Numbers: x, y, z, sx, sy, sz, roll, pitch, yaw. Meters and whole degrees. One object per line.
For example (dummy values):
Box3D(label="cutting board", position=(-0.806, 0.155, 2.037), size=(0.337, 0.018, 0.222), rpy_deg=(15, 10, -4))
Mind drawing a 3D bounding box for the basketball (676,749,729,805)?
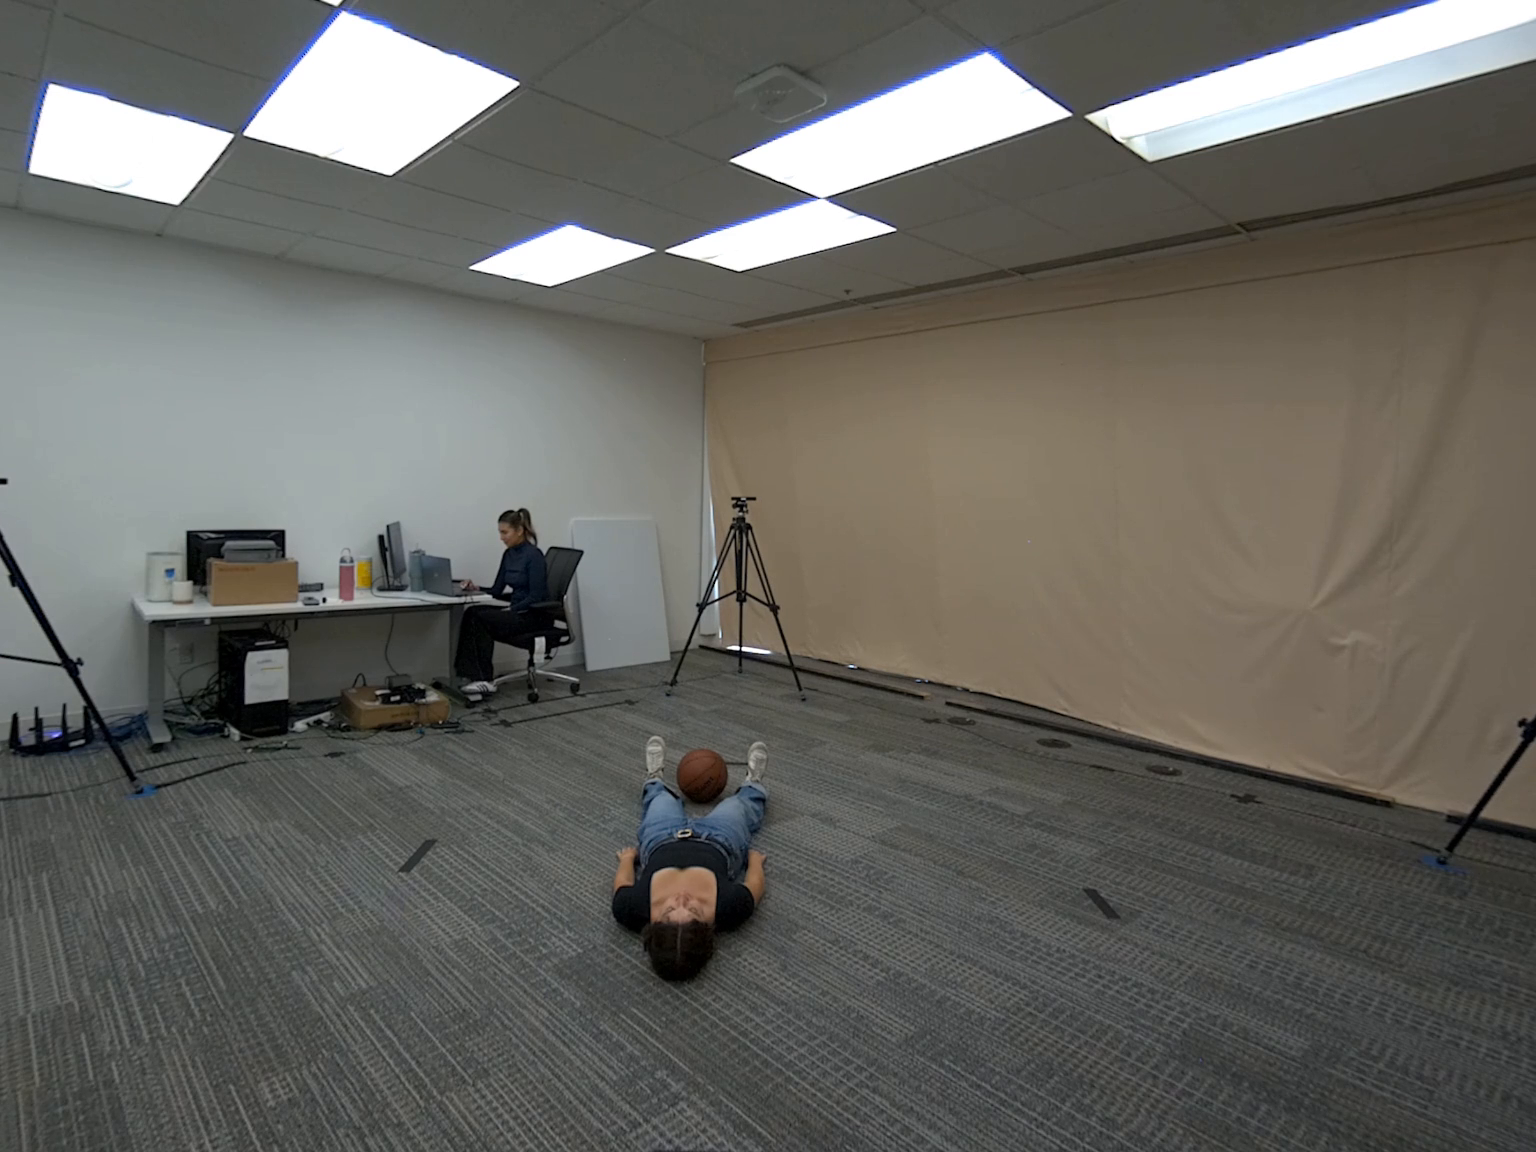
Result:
Box3D(label="basketball", position=(-0.313, 0.913, 3.877), size=(0.236, 0.235, 0.237), rpy_deg=(1, 4, -1))
